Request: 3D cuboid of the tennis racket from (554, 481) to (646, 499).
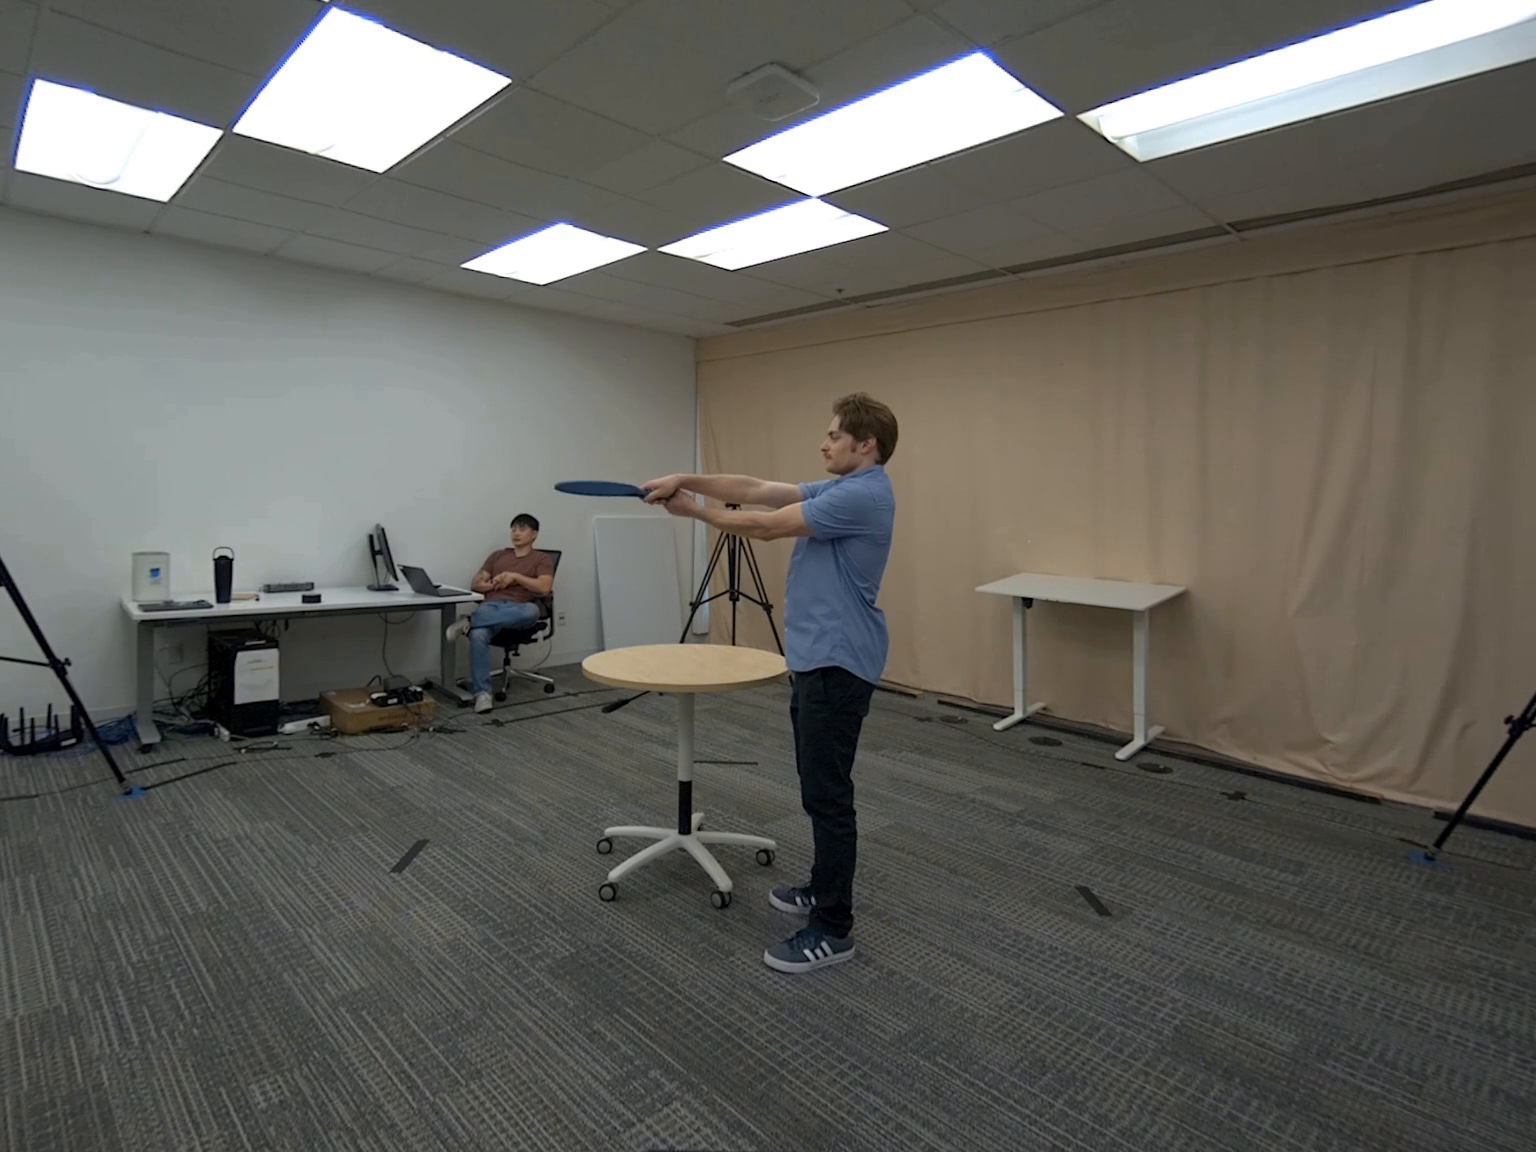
[{"bbox_3d":[-0.441,-0.262,2.559,0.425,0.032,0.218,3,1,-25],"label":"tennis racket"}]
